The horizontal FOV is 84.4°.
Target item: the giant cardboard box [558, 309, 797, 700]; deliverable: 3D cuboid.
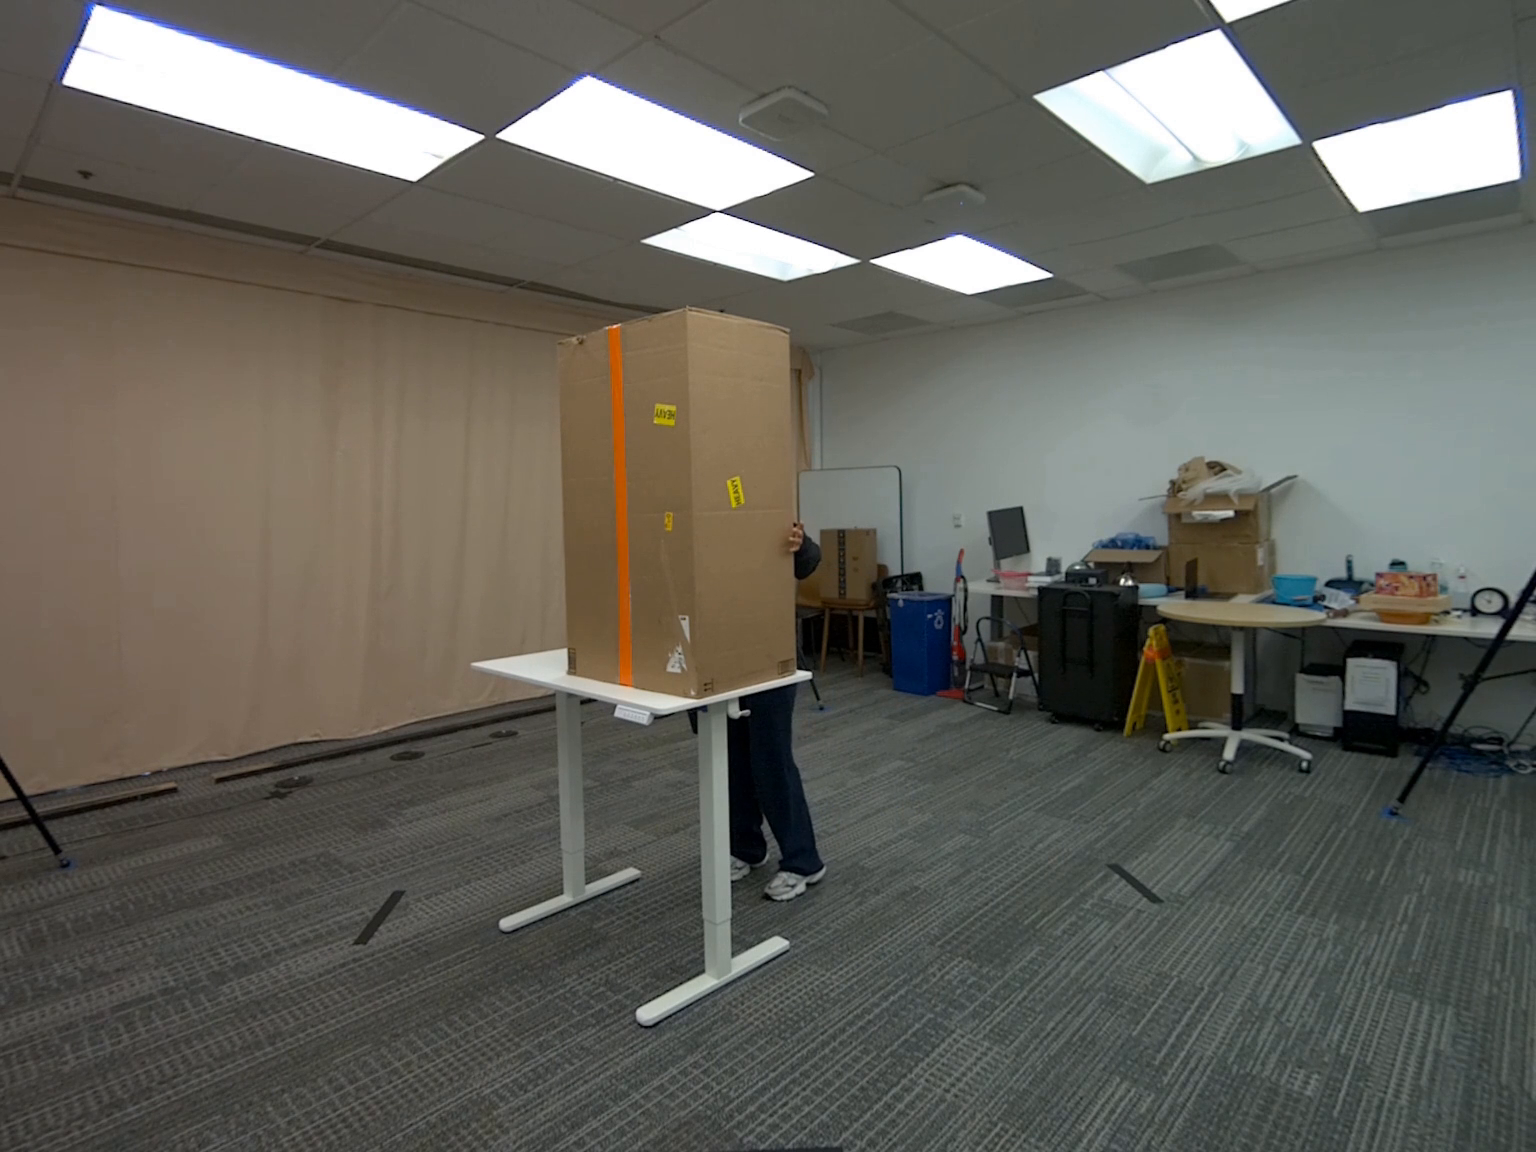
[{"bbox_3d":[-0.265,-0.208,2.531,0.596,1.024,0.413,1,4,42],"label":"giant cardboard box"}]
